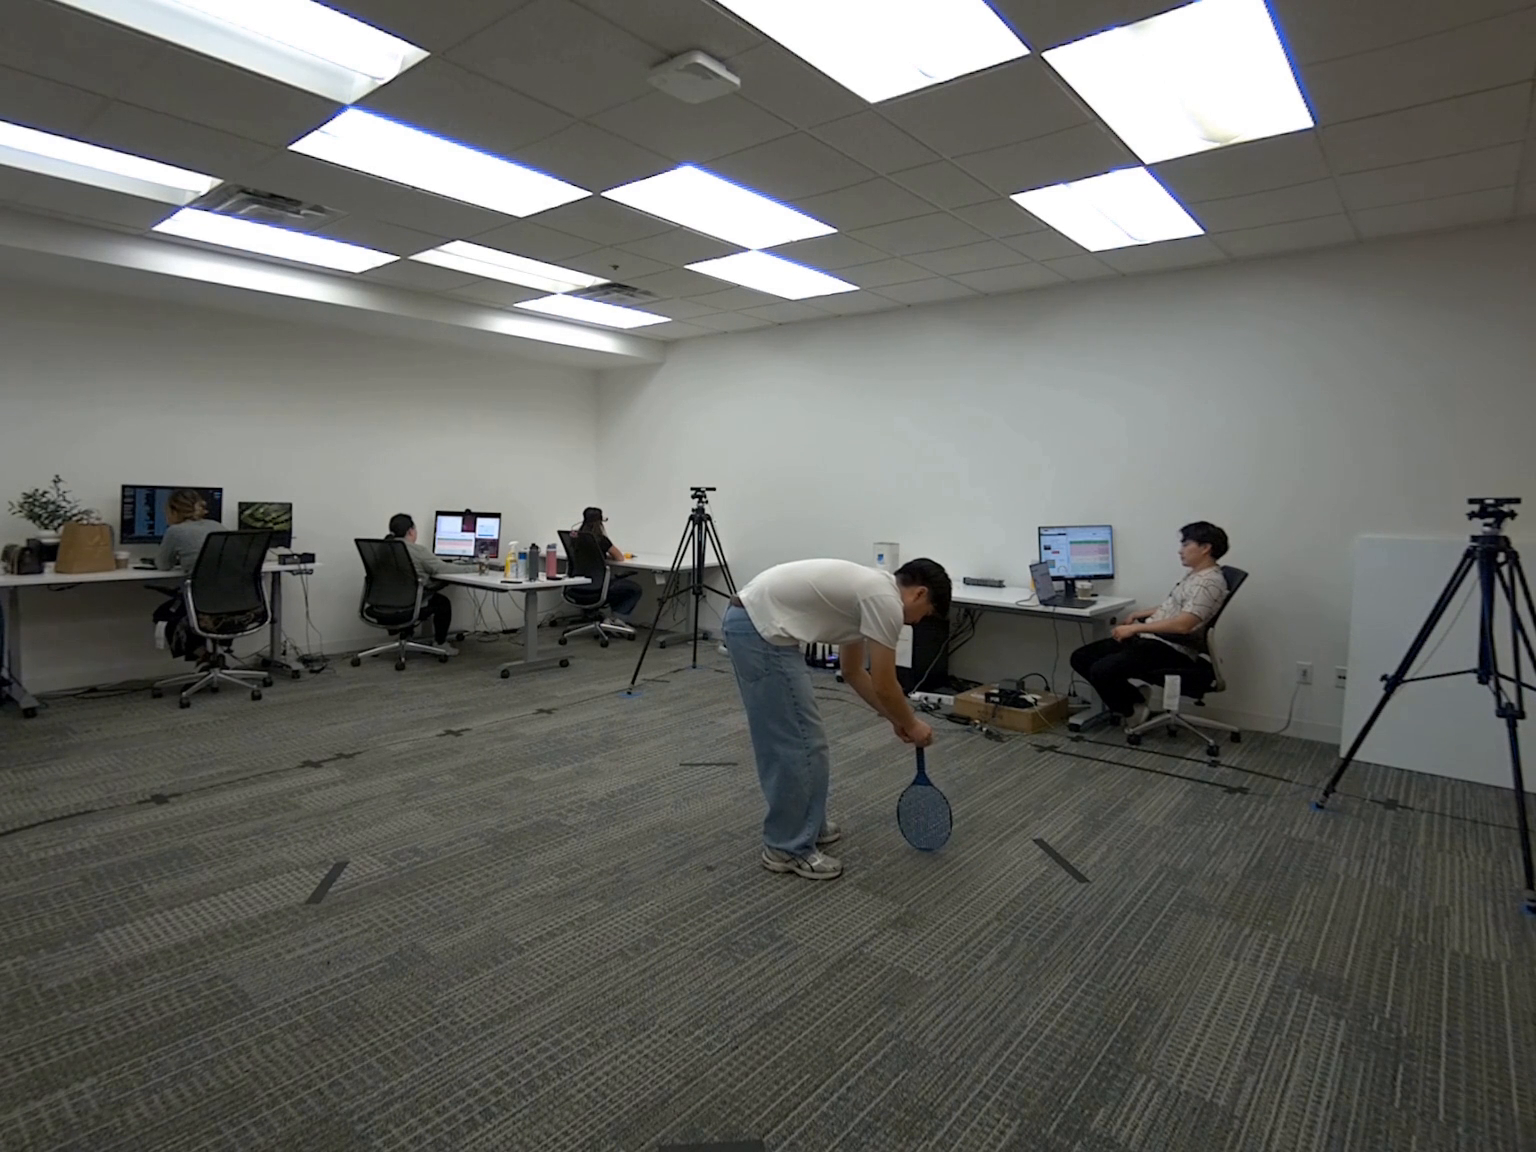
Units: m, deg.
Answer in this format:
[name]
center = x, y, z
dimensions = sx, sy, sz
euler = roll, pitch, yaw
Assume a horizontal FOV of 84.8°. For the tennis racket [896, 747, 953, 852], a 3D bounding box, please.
[tennis racket]
center = 0.592, 0.849, 3.305
dimensions = 0.218, 0.432, 0.031
euler = -3, 1, 23
